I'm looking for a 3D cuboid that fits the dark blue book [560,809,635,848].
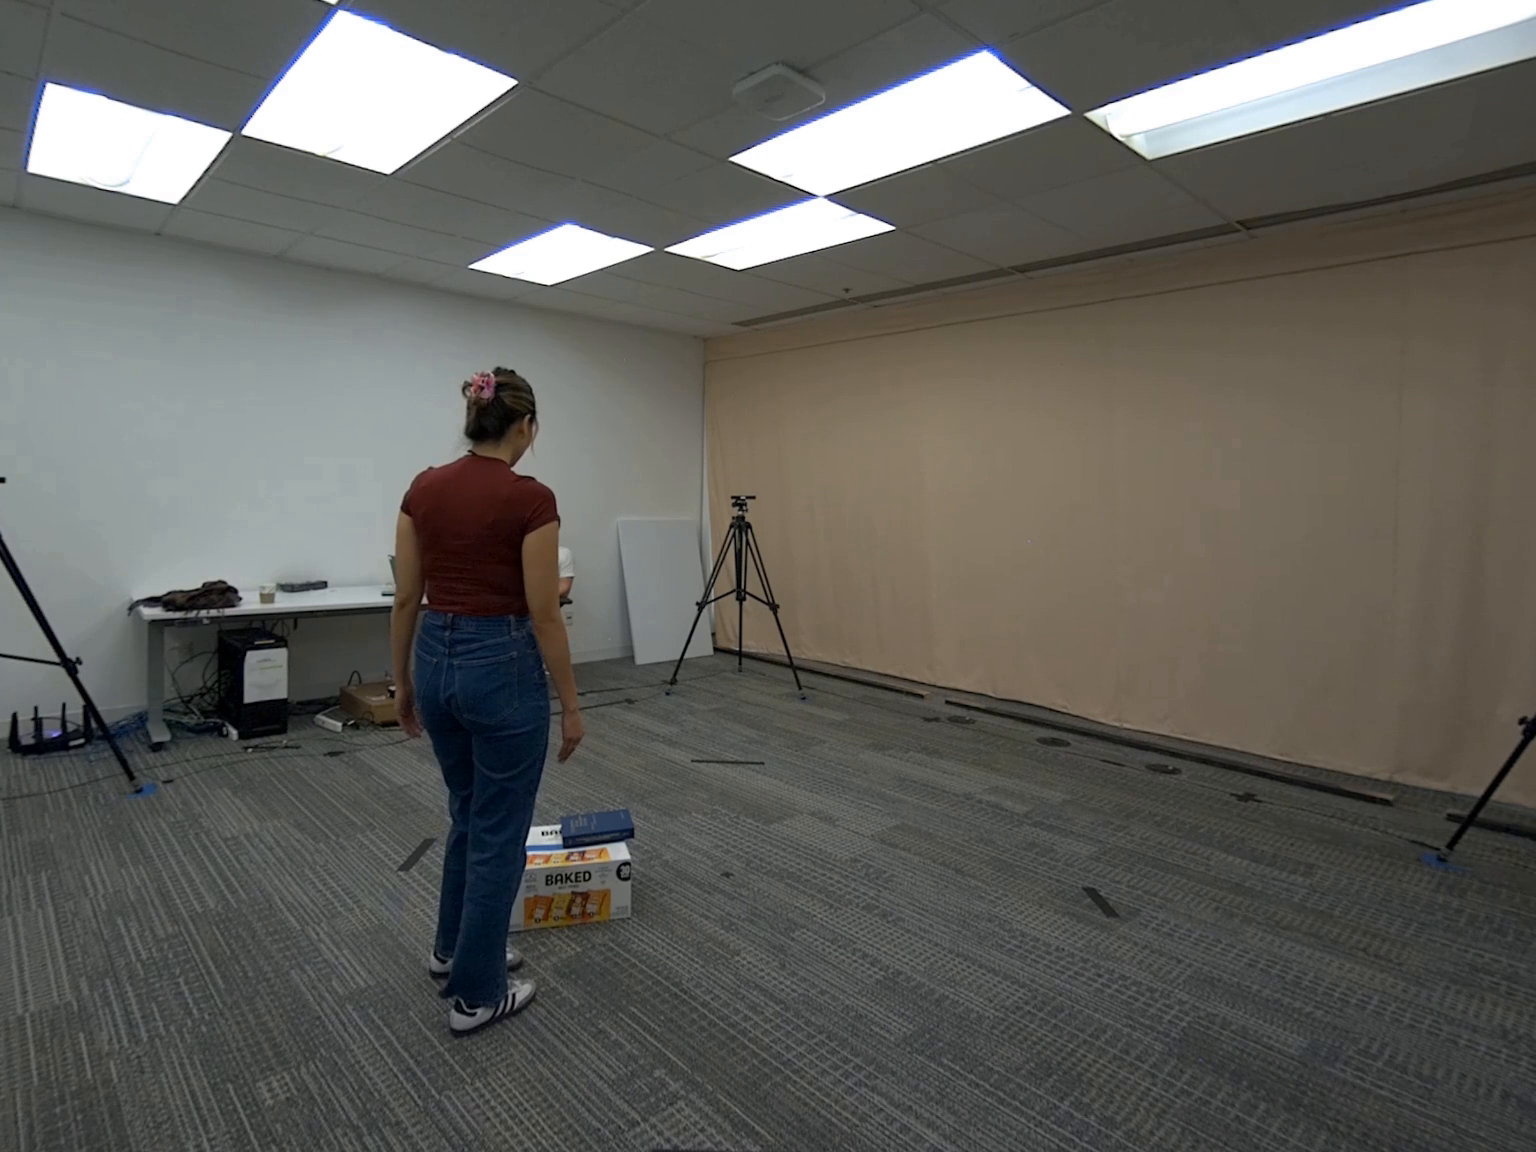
[{"bbox_3d":[-0.615,0.889,2.946,0.242,0.045,0.166,-3,8,-16],"label":"dark blue book"}]
